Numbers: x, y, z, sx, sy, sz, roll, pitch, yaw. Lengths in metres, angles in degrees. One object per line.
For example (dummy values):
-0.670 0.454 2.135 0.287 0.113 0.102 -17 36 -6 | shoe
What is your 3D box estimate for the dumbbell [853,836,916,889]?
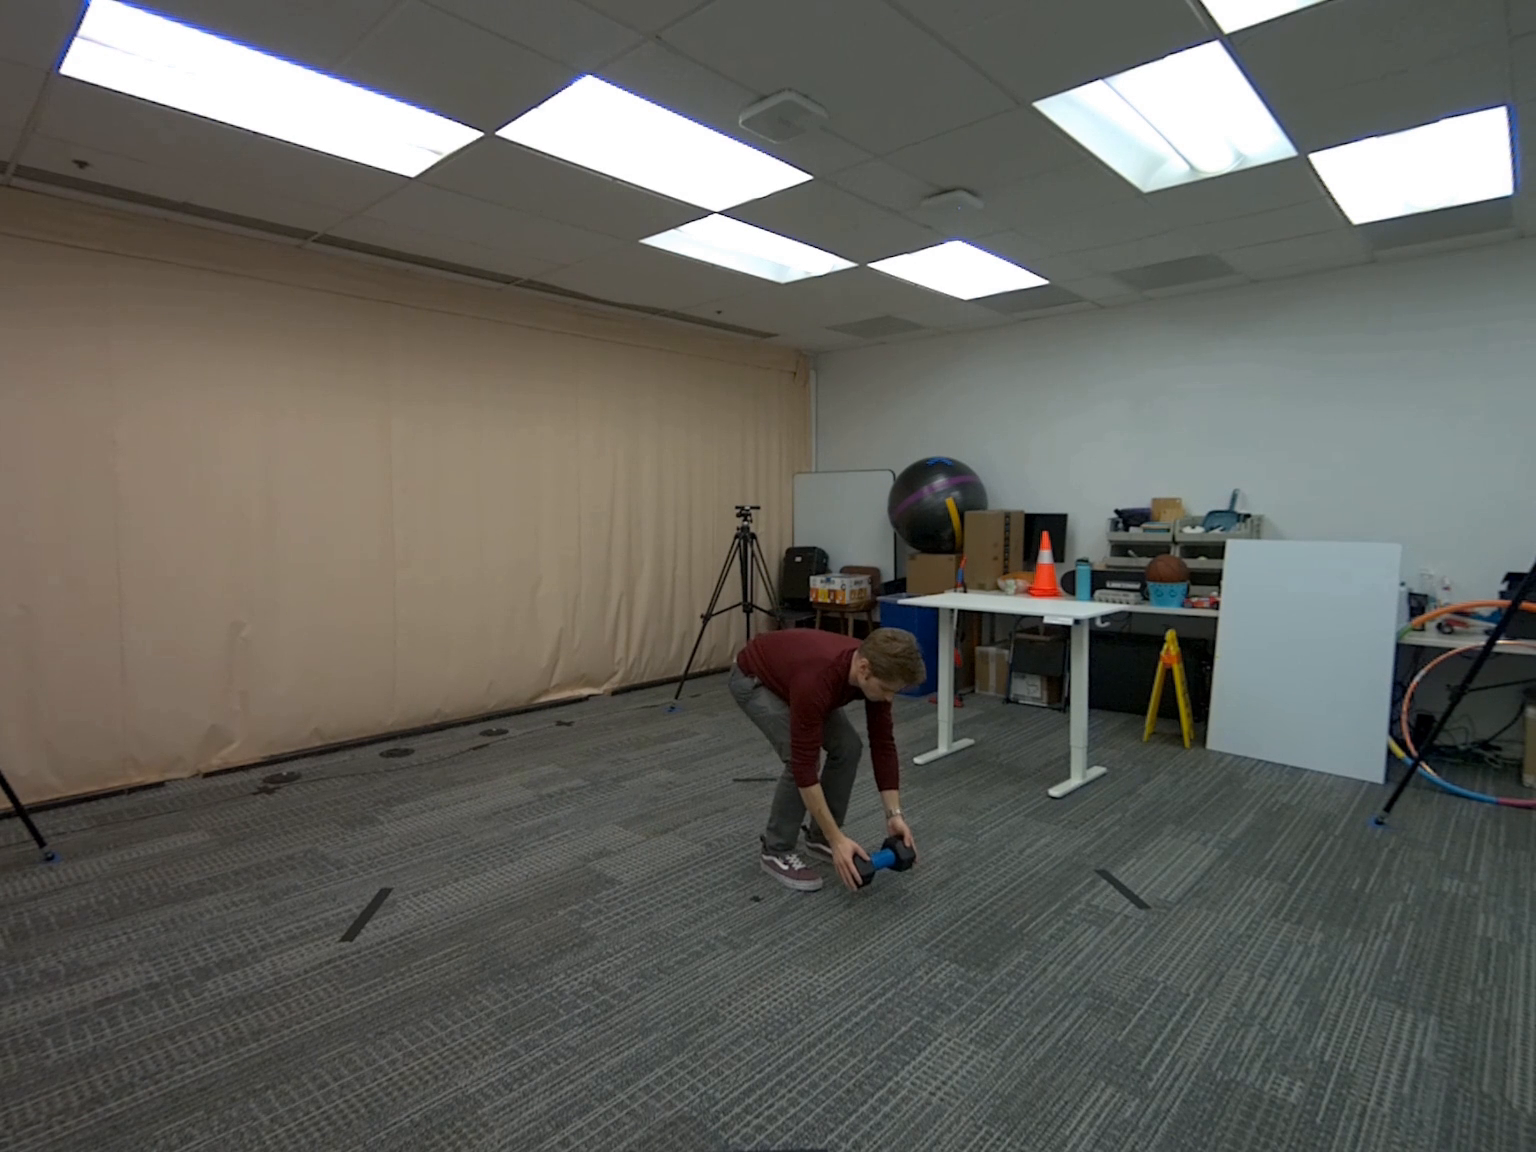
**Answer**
0.389 1.005 2.974 0.285 0.125 0.109 -4 -29 -38 | dumbbell
